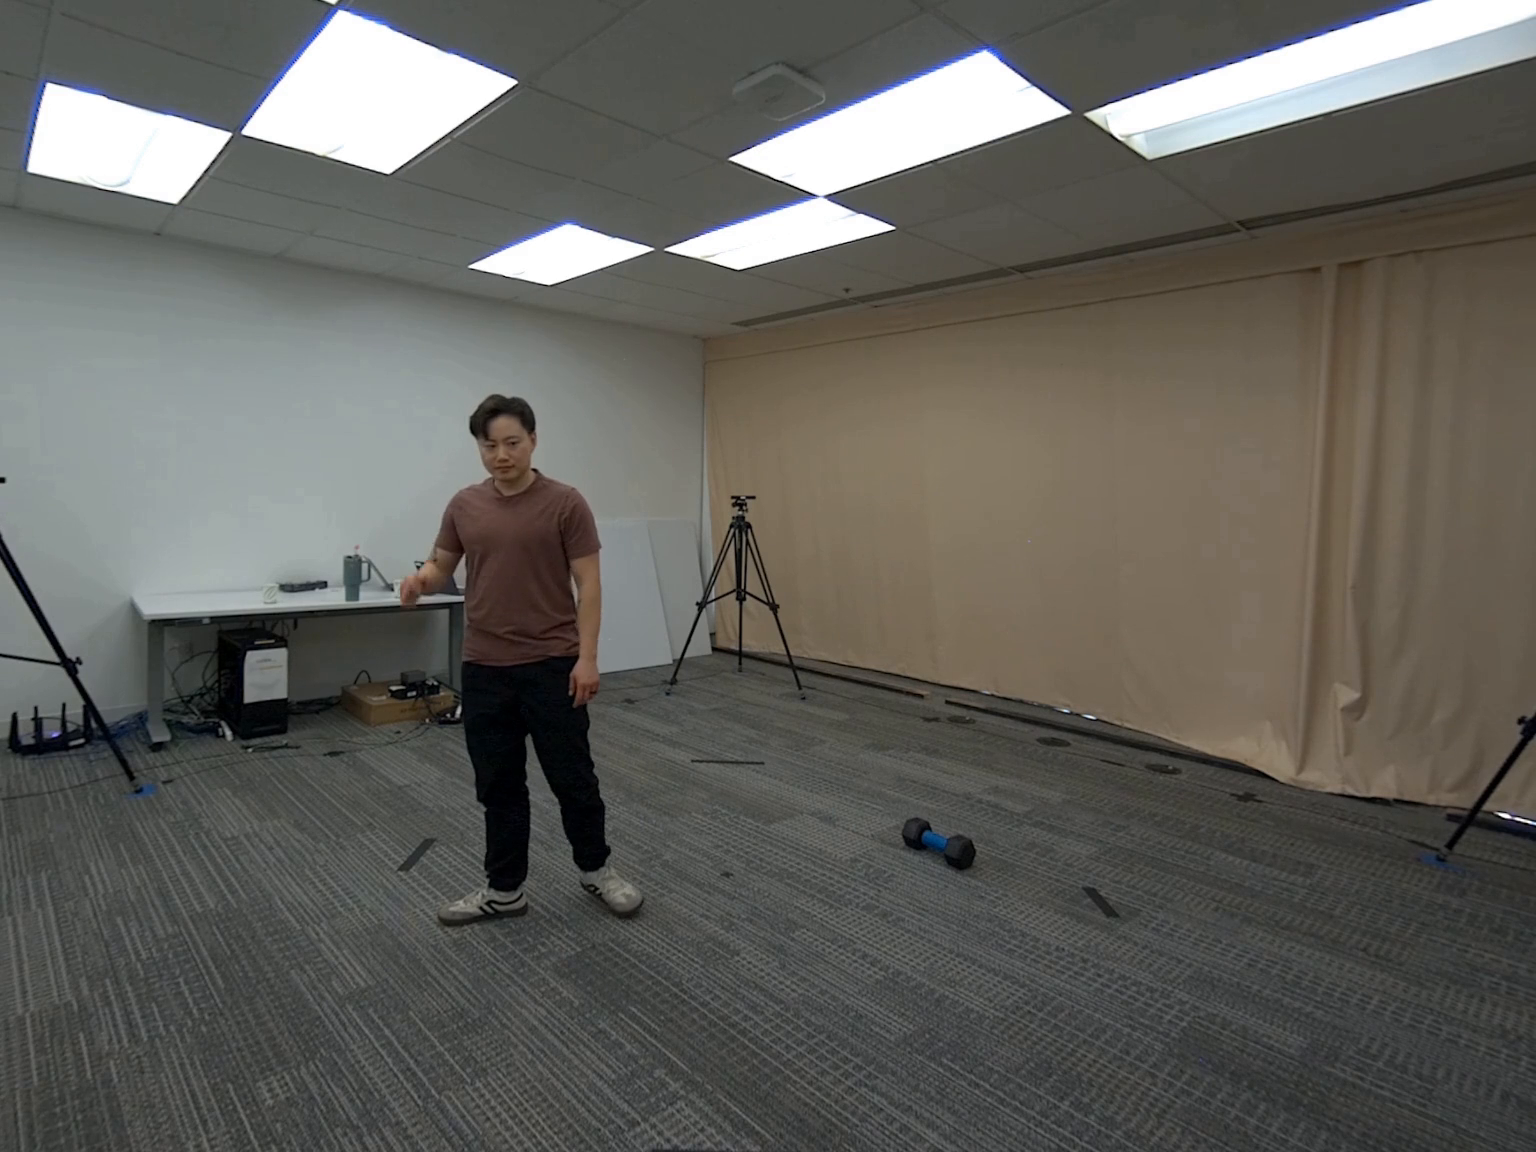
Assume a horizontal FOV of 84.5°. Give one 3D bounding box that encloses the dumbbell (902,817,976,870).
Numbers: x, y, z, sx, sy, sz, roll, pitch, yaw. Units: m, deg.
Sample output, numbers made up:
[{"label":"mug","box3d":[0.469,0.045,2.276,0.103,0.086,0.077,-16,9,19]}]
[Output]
[{"label":"dumbbell","box3d":[0.660,1.049,3.317,0.120,0.108,0.301,-1,5,-38]}]
